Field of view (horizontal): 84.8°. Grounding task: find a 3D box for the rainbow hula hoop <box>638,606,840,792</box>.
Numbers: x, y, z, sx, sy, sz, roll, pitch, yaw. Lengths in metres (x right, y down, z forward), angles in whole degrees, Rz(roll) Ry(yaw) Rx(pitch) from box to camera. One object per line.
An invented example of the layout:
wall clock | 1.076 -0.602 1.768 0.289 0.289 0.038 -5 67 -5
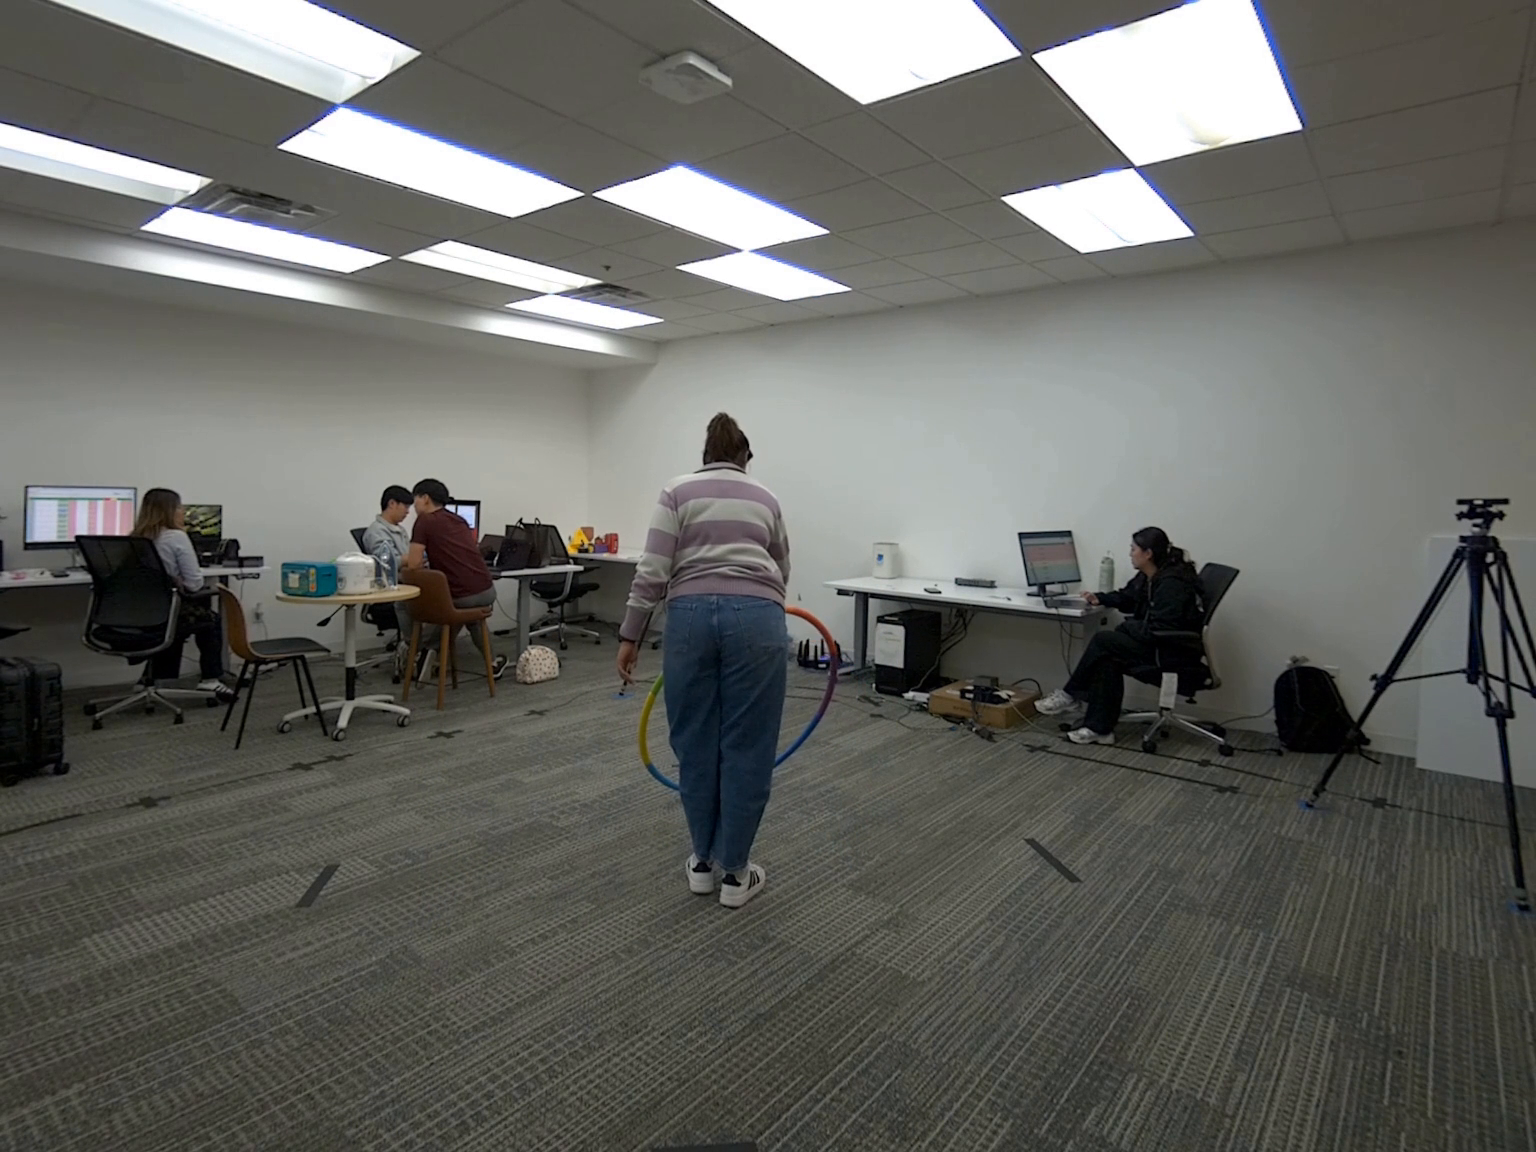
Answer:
rainbow hula hoop | -0.128 0.558 3.724 0.952 0.964 0.037 -1 28 -32
